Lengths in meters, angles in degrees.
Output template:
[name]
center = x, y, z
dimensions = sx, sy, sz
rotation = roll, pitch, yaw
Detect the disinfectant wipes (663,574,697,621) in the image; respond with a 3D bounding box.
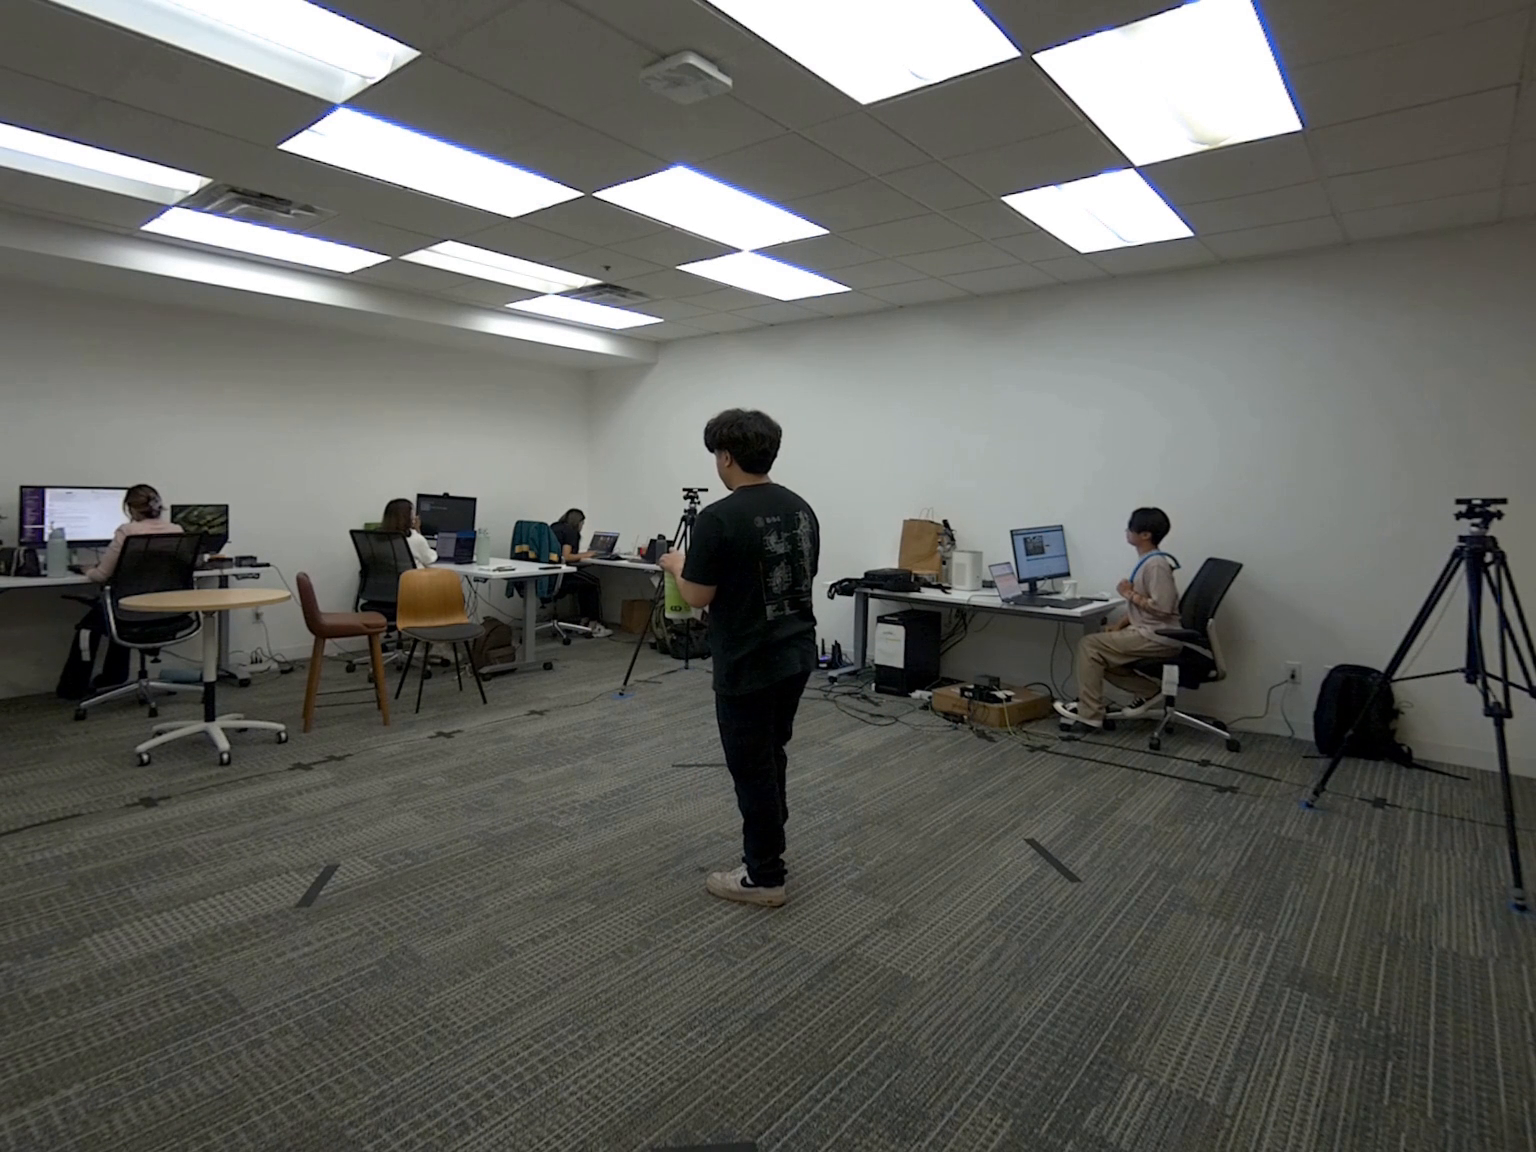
[disinfectant wipes]
center = -0.344, 0.043, 3.123
dimensions = 0.118, 0.217, 0.118
rotation = -1, 4, -2
